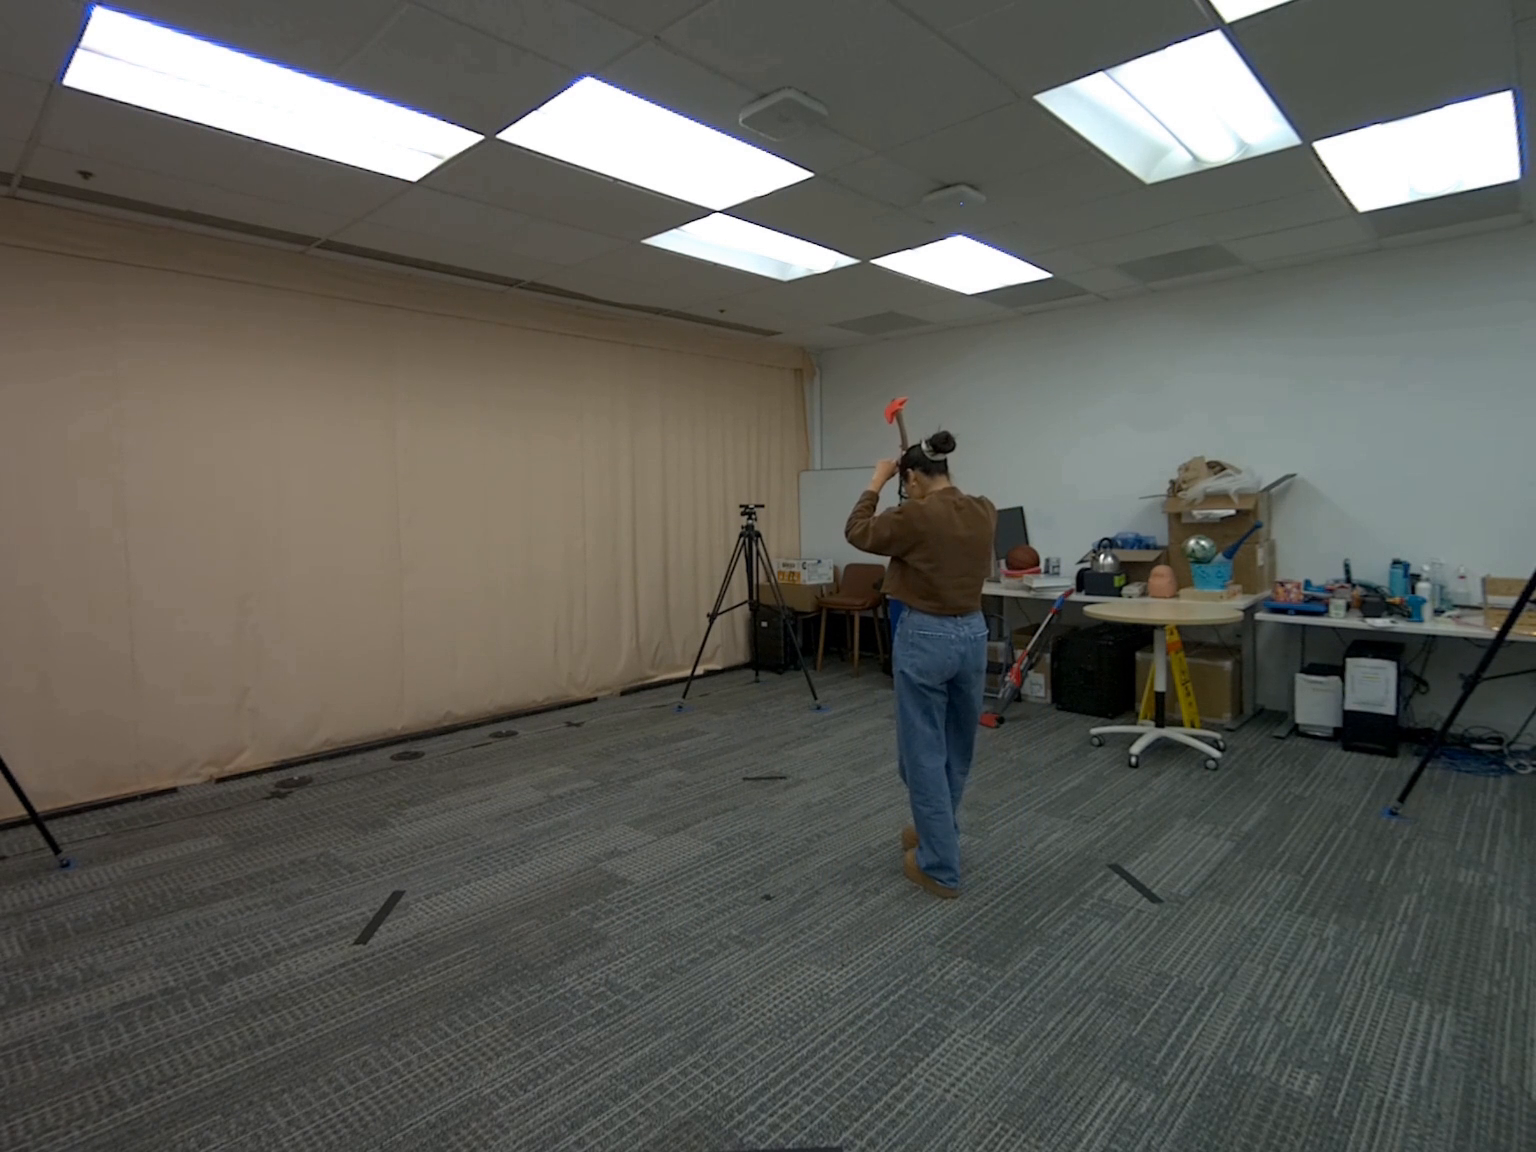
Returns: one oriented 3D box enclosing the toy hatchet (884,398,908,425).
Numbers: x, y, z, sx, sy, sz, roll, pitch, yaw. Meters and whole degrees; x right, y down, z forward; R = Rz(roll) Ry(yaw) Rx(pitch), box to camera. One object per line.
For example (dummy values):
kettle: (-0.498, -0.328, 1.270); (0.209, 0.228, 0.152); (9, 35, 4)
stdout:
toy hatchet: (0.504, -0.561, 3.284); (0.029, 0.270, 0.135); (-1, 1, -33)
